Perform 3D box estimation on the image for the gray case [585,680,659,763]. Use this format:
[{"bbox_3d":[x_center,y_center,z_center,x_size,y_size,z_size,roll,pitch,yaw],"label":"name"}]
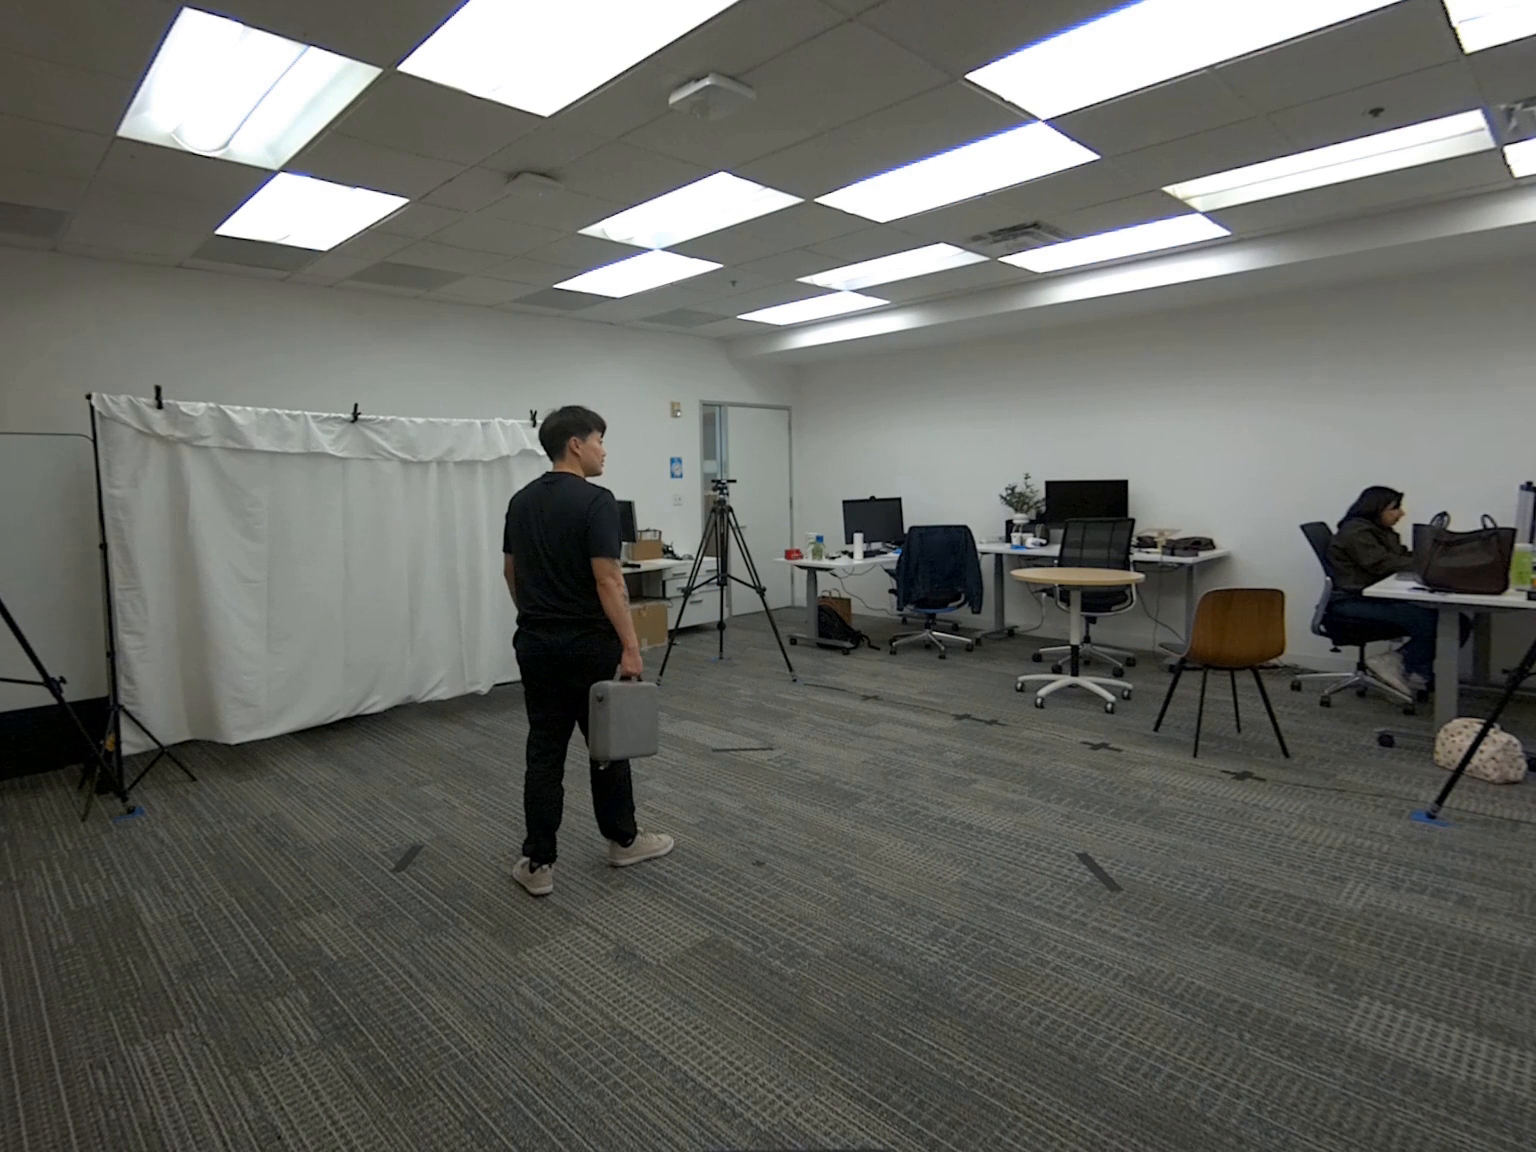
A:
[{"bbox_3d":[-0.480,0.473,2.874,0.107,0.262,0.249,-4,-7,35],"label":"gray case"}]
